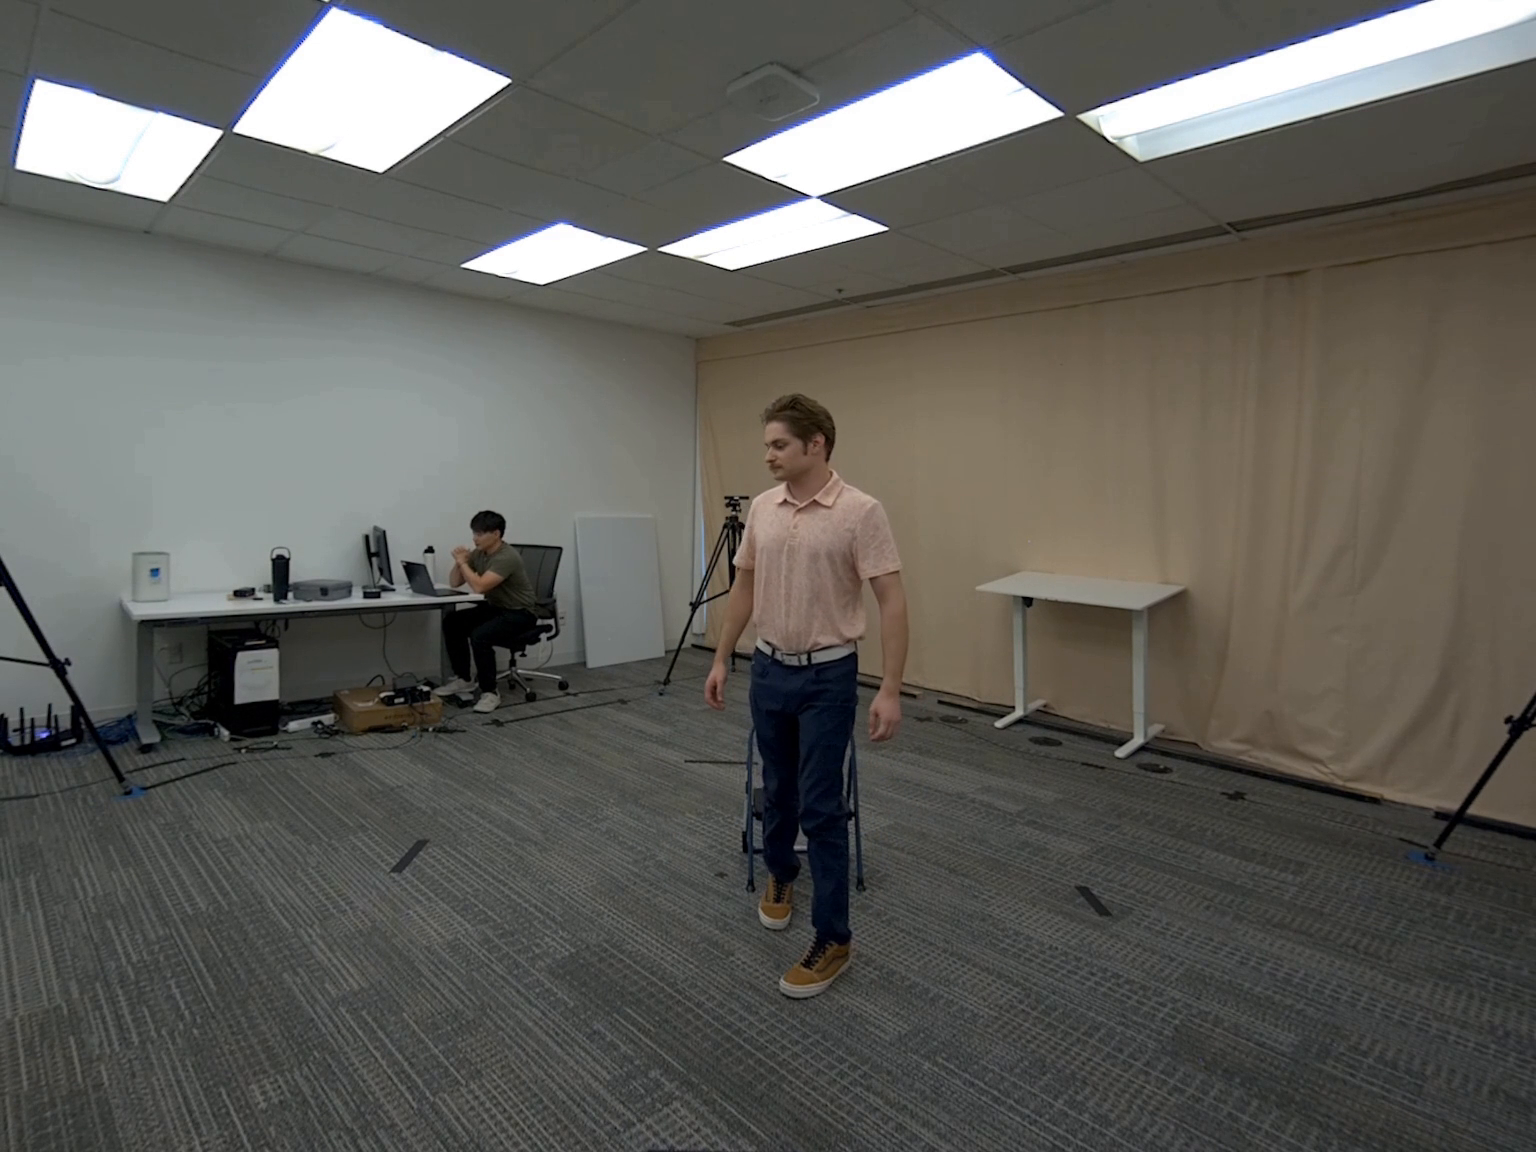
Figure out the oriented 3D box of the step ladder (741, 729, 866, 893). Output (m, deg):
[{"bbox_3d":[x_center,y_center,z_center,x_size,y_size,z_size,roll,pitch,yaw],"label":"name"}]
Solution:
[{"bbox_3d":[0.128,0.807,3.144,0.429,0.605,0.351,2,3,-6],"label":"step ladder"}]
